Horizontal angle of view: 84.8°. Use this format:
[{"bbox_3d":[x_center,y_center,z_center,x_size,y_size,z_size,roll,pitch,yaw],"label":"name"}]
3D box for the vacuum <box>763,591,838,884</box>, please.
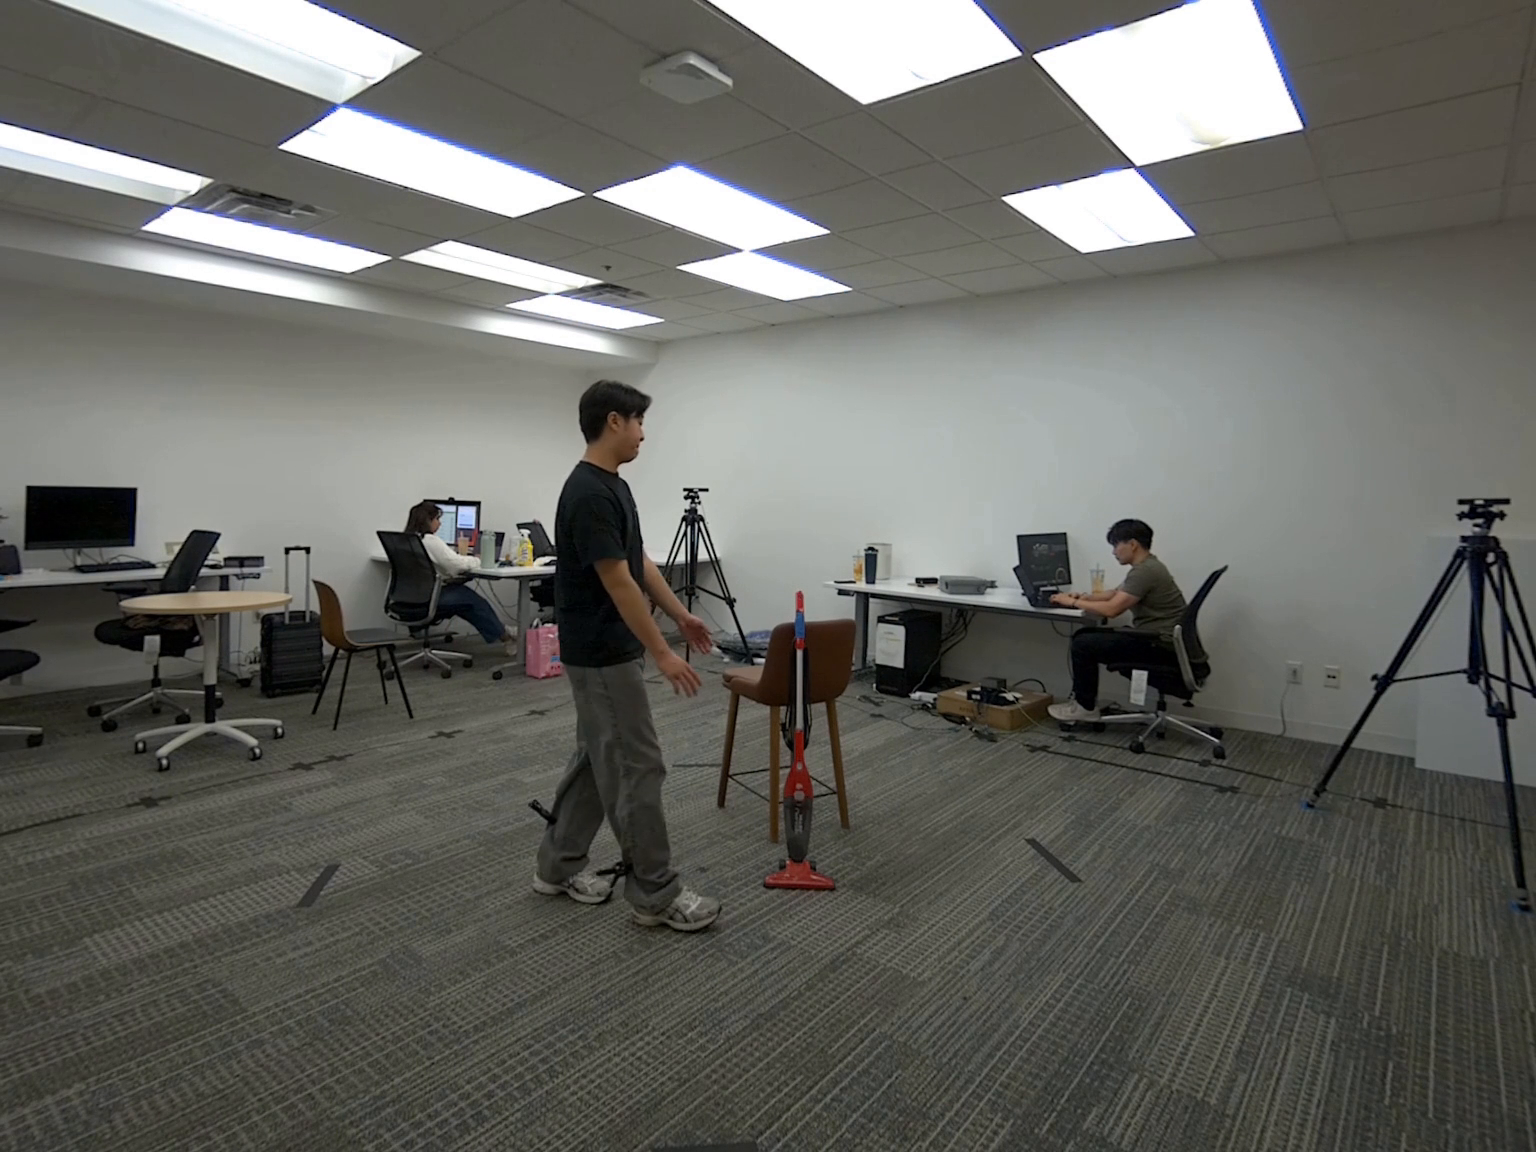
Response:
[{"bbox_3d":[0.110,0.568,3.205,0.252,1.066,0.142,2,-17,-4],"label":"vacuum"}]
